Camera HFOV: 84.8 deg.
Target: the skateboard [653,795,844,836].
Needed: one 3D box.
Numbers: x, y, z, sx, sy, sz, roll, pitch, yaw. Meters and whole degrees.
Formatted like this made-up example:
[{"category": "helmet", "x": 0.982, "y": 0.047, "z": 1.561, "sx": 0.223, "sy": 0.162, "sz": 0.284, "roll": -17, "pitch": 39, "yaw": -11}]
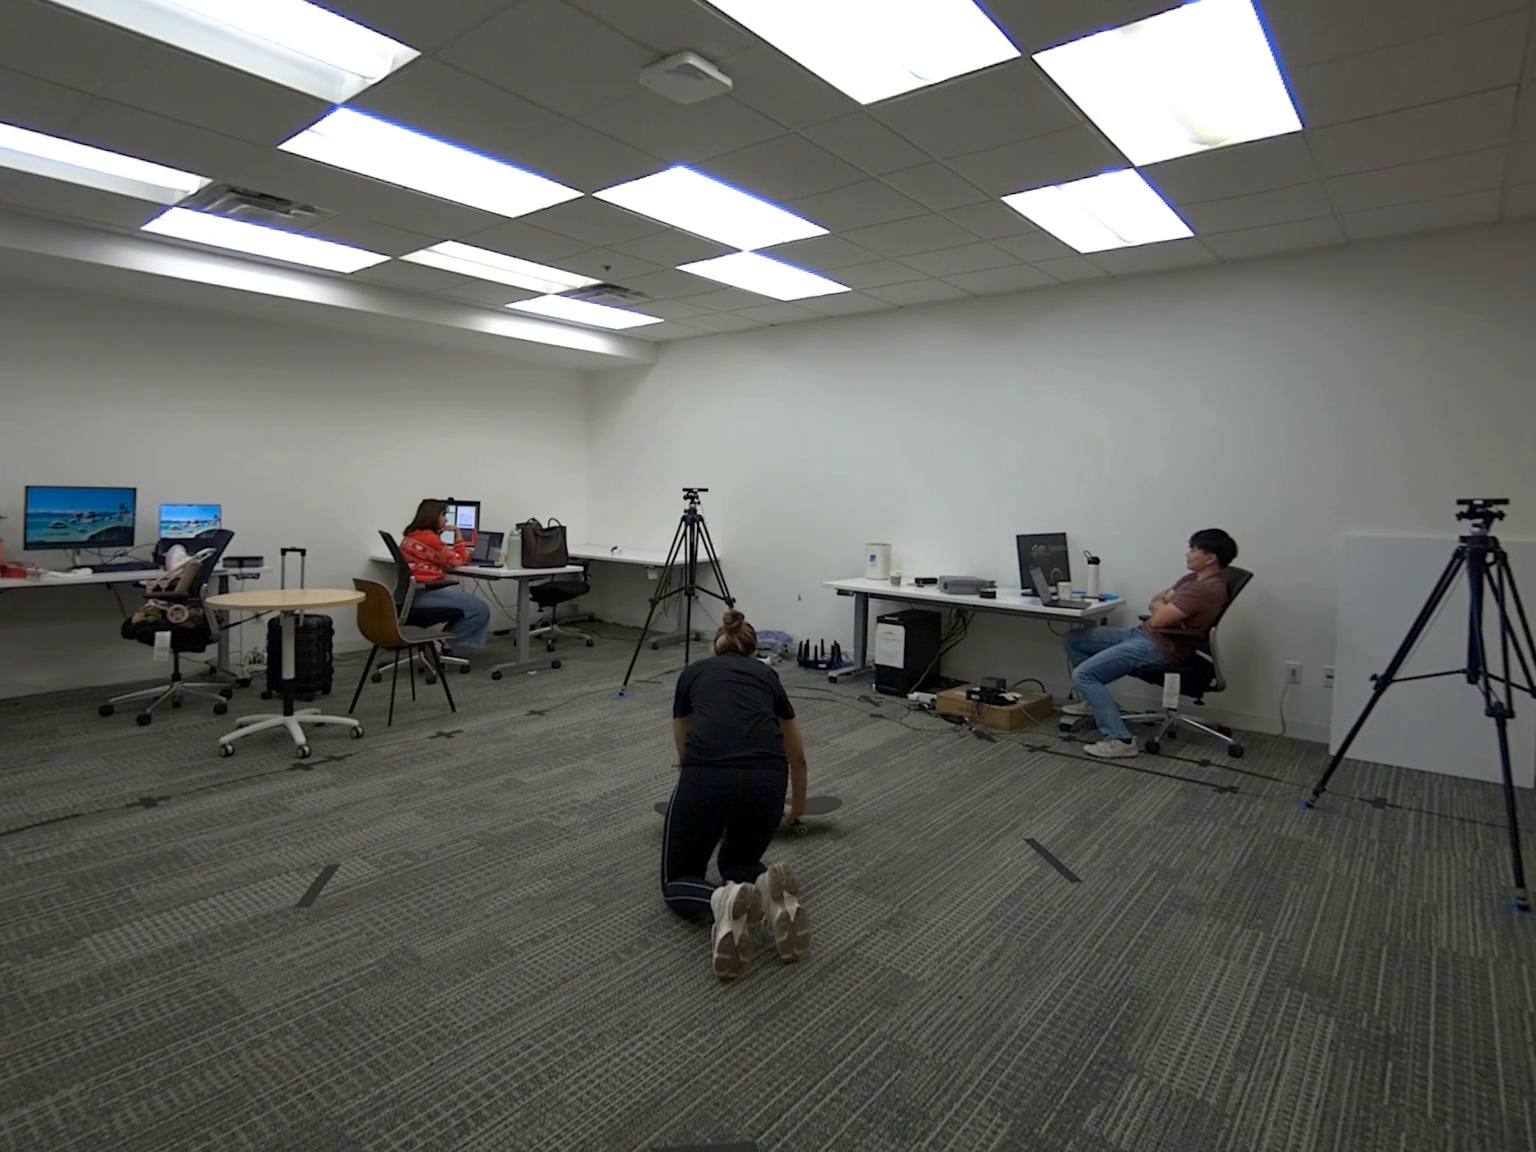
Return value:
[{"category": "skateboard", "x": -0.088, "y": 0.973, "z": 3.468, "sx": 0.778, "sy": 0.110, "sz": 0.196, "roll": 0, "pitch": 5, "yaw": -9}]
